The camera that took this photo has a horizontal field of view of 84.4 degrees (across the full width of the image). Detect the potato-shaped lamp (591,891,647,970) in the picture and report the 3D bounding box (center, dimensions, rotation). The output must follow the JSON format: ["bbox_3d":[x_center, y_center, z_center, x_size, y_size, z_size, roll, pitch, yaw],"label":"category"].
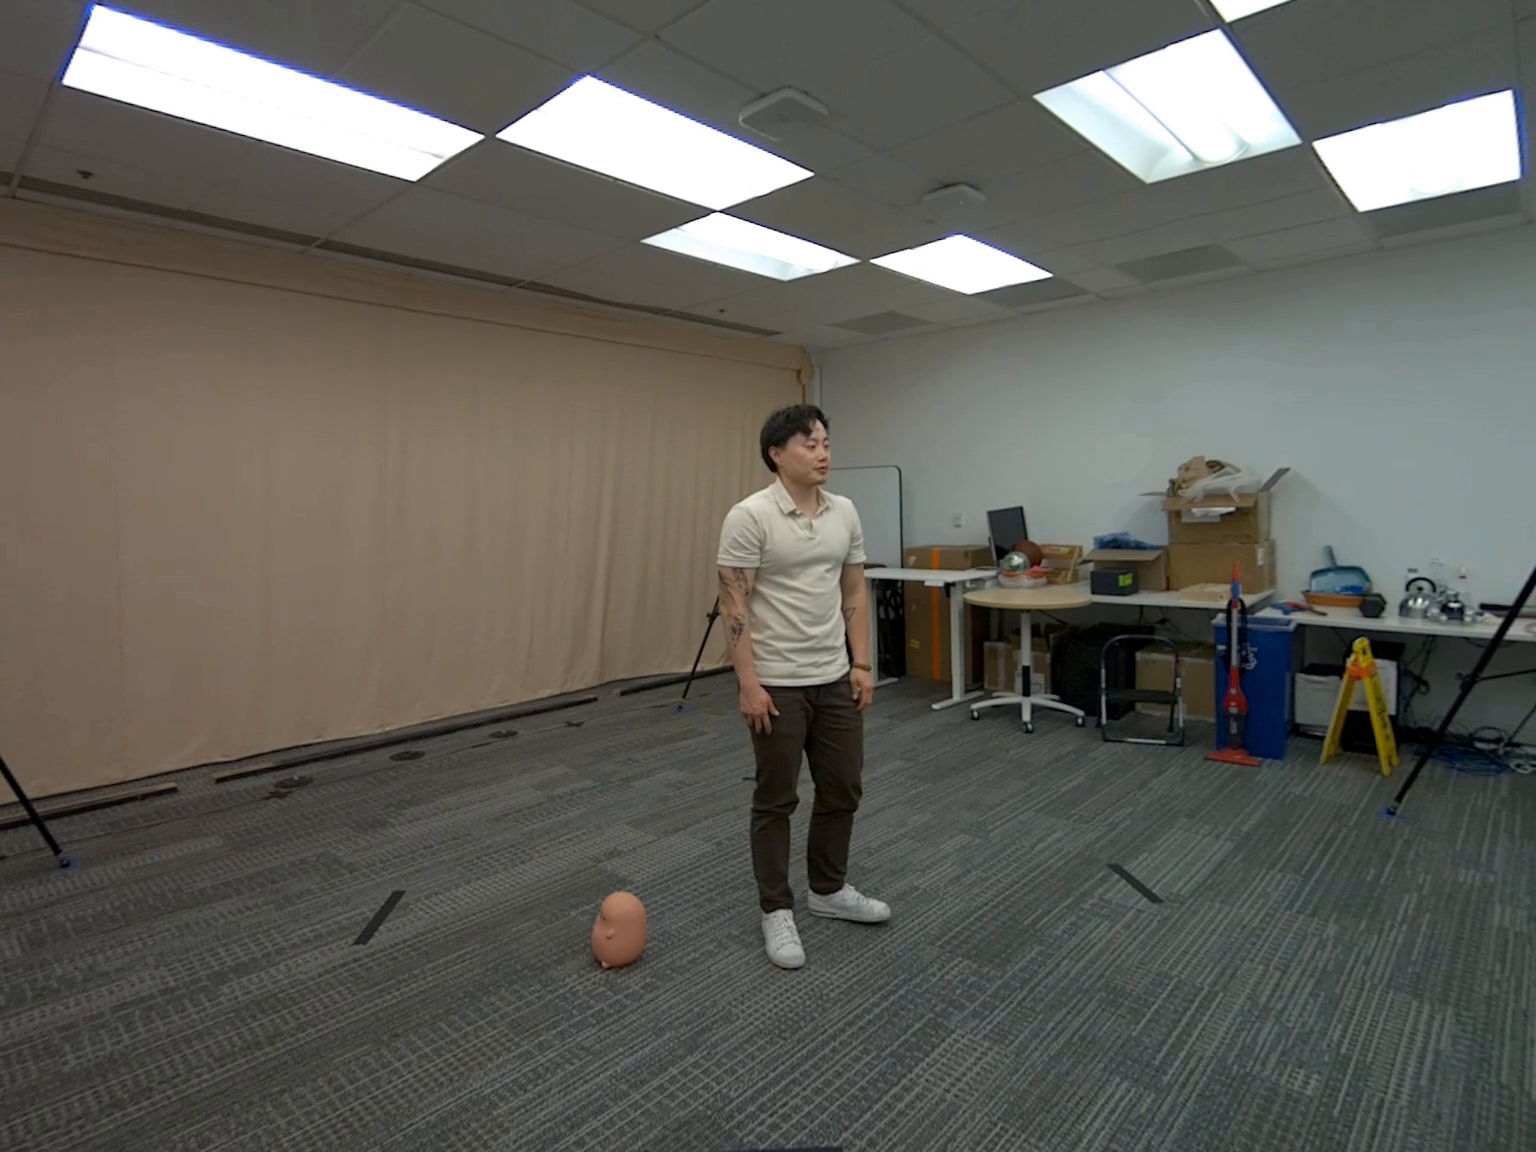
[{"bbox_3d":[-0.452,1.083,2.596,0.167,0.198,0.169,1,3,-25],"label":"potato-shaped lamp"}]
